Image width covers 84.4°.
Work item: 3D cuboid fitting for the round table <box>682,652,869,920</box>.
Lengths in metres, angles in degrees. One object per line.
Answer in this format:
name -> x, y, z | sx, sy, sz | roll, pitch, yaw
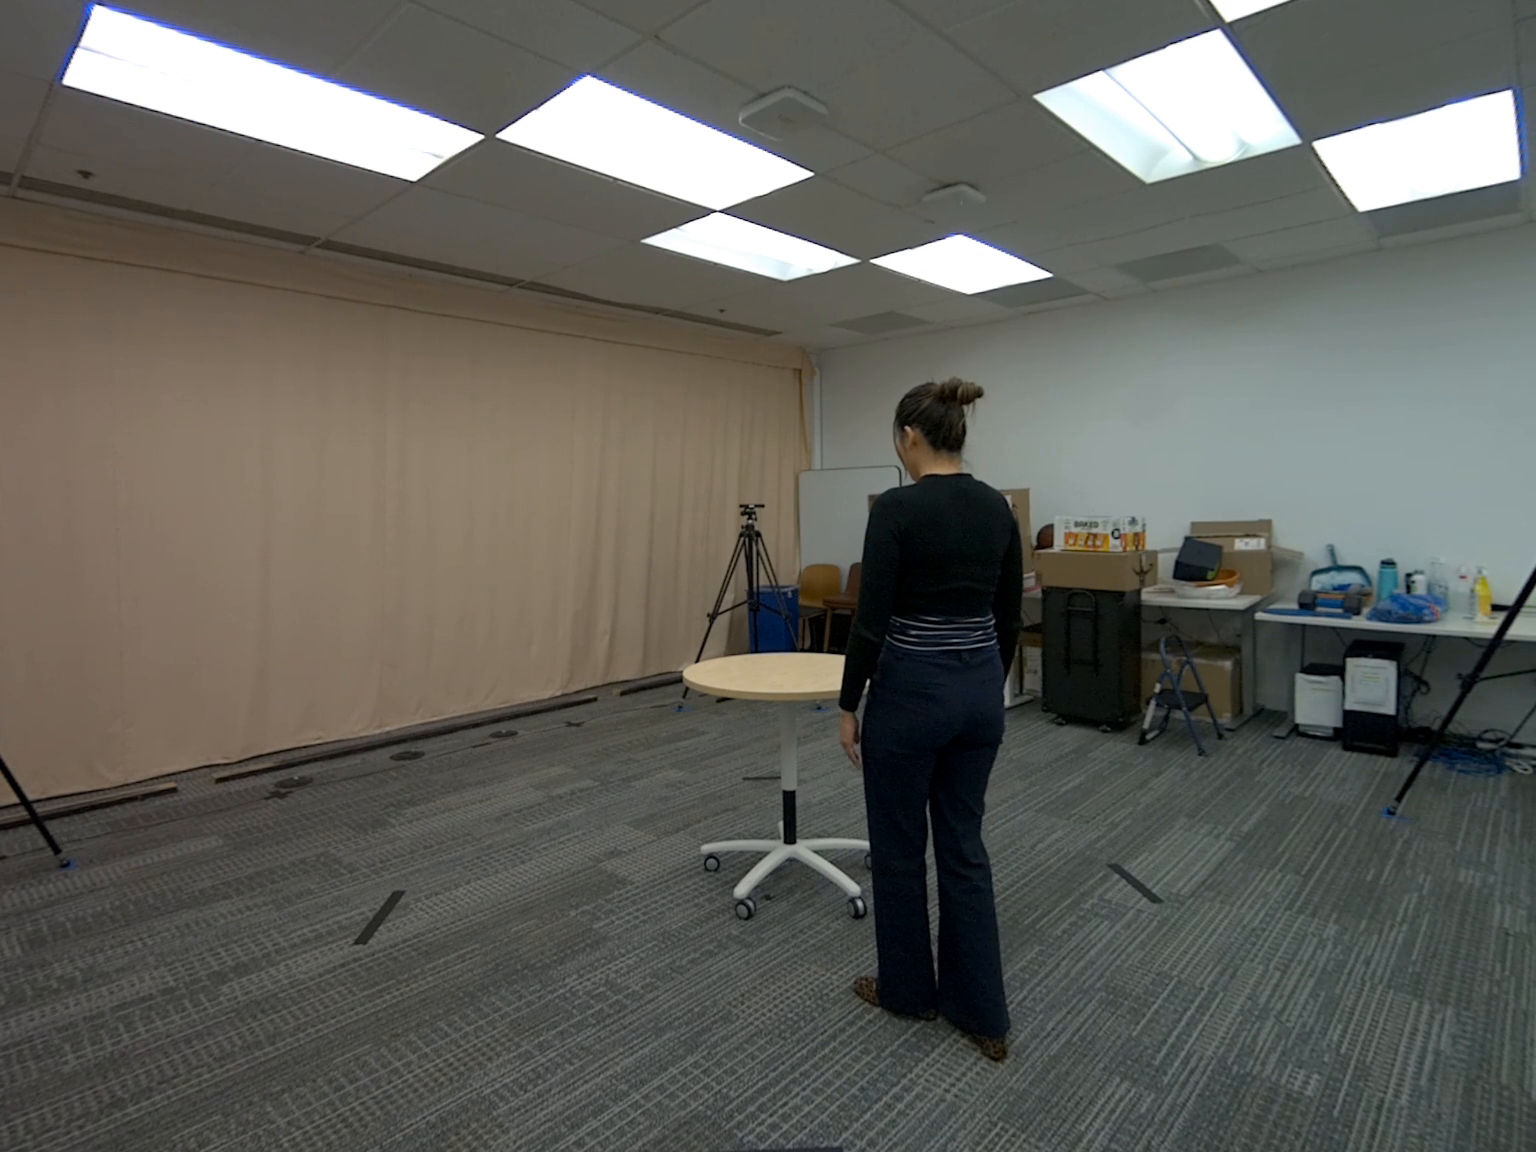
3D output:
round table -> 0.083, 0.741, 3.095 | 0.763, 0.792, 0.766 | -1, 3, -2
